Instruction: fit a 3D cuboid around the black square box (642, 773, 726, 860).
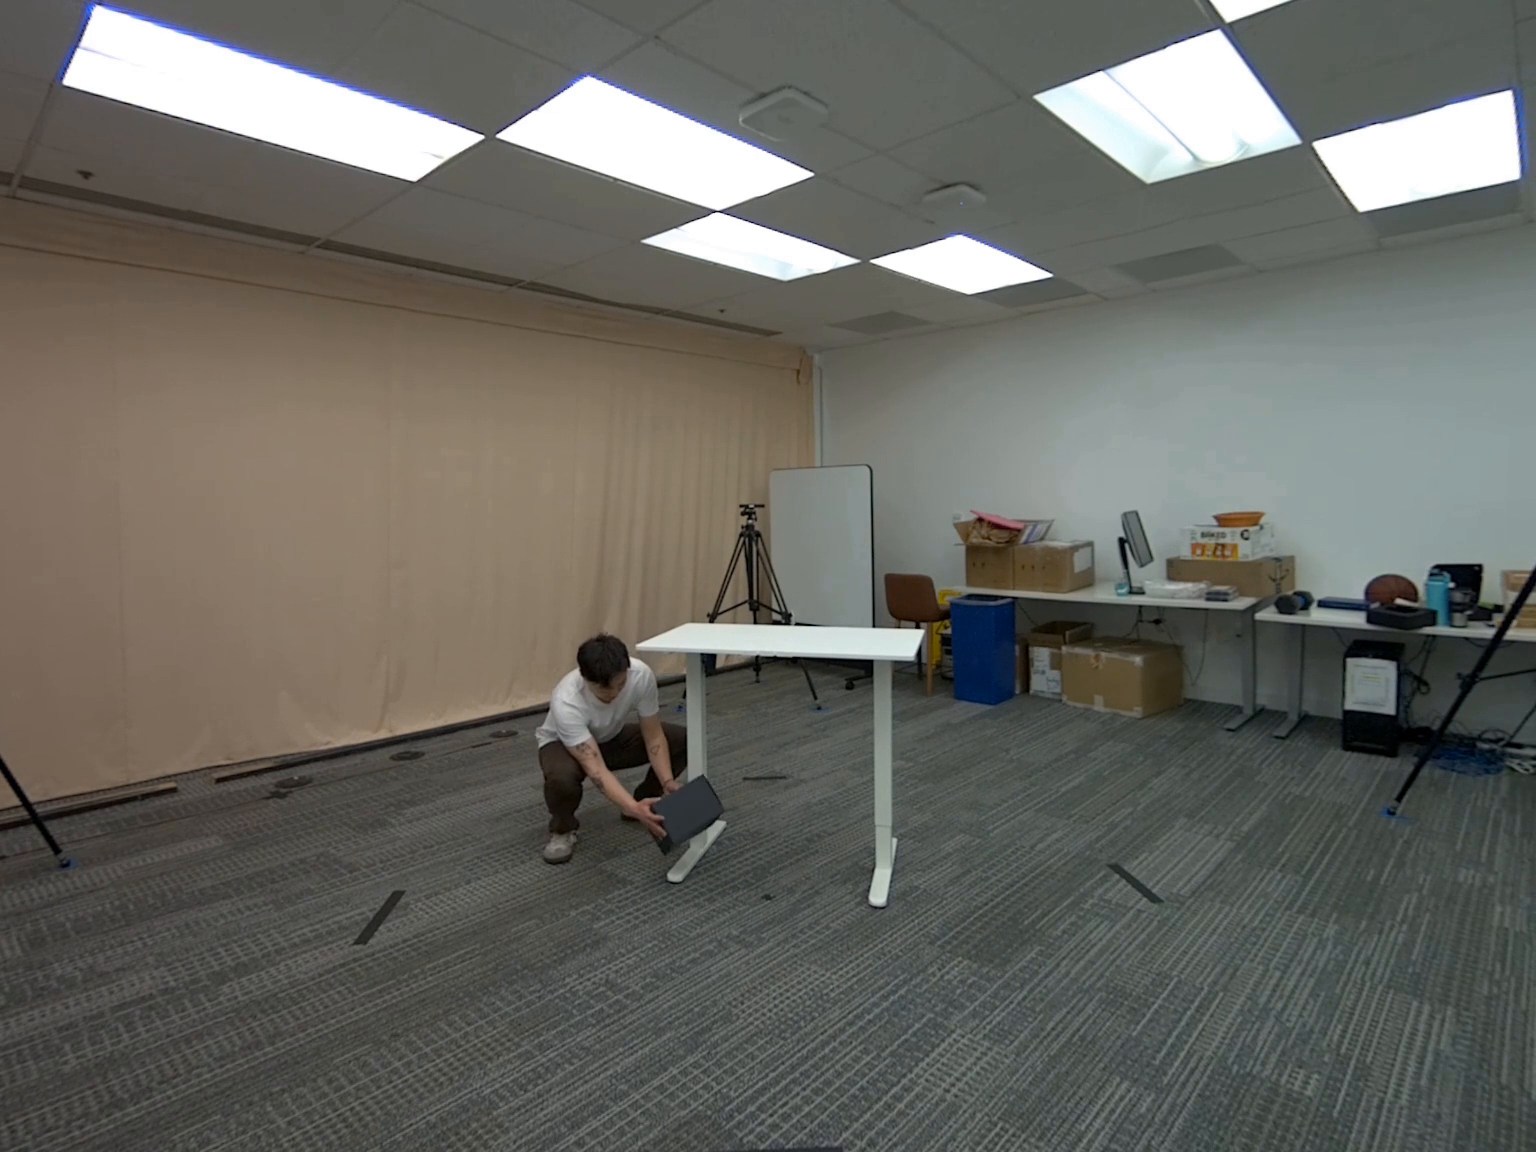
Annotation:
[{"bbox_3d":[-0.317,0.881,3.107,0.224,0.159,0.216,-28,-19,-28],"label":"black square box"}]
